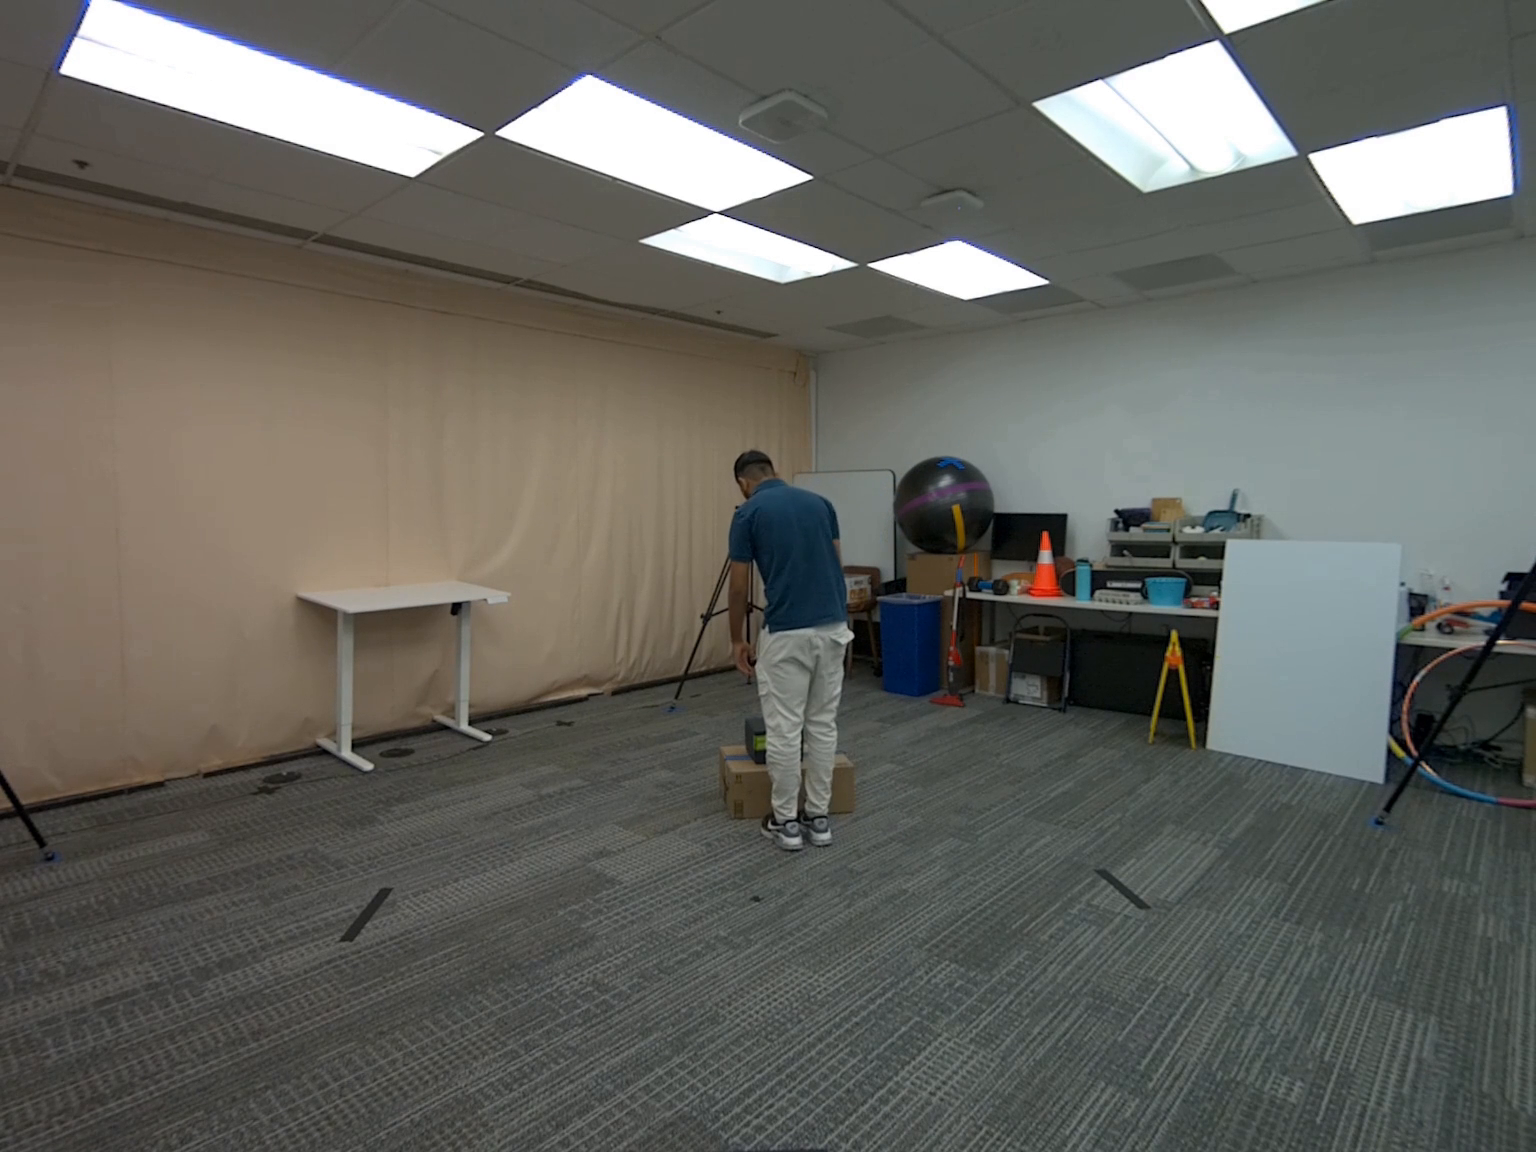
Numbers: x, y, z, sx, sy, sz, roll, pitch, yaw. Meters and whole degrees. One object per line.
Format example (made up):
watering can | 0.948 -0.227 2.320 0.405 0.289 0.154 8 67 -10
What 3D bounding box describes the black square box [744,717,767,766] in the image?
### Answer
black square box | 0.026 0.763 3.955 0.225 0.155 0.220 -2 6 -12
